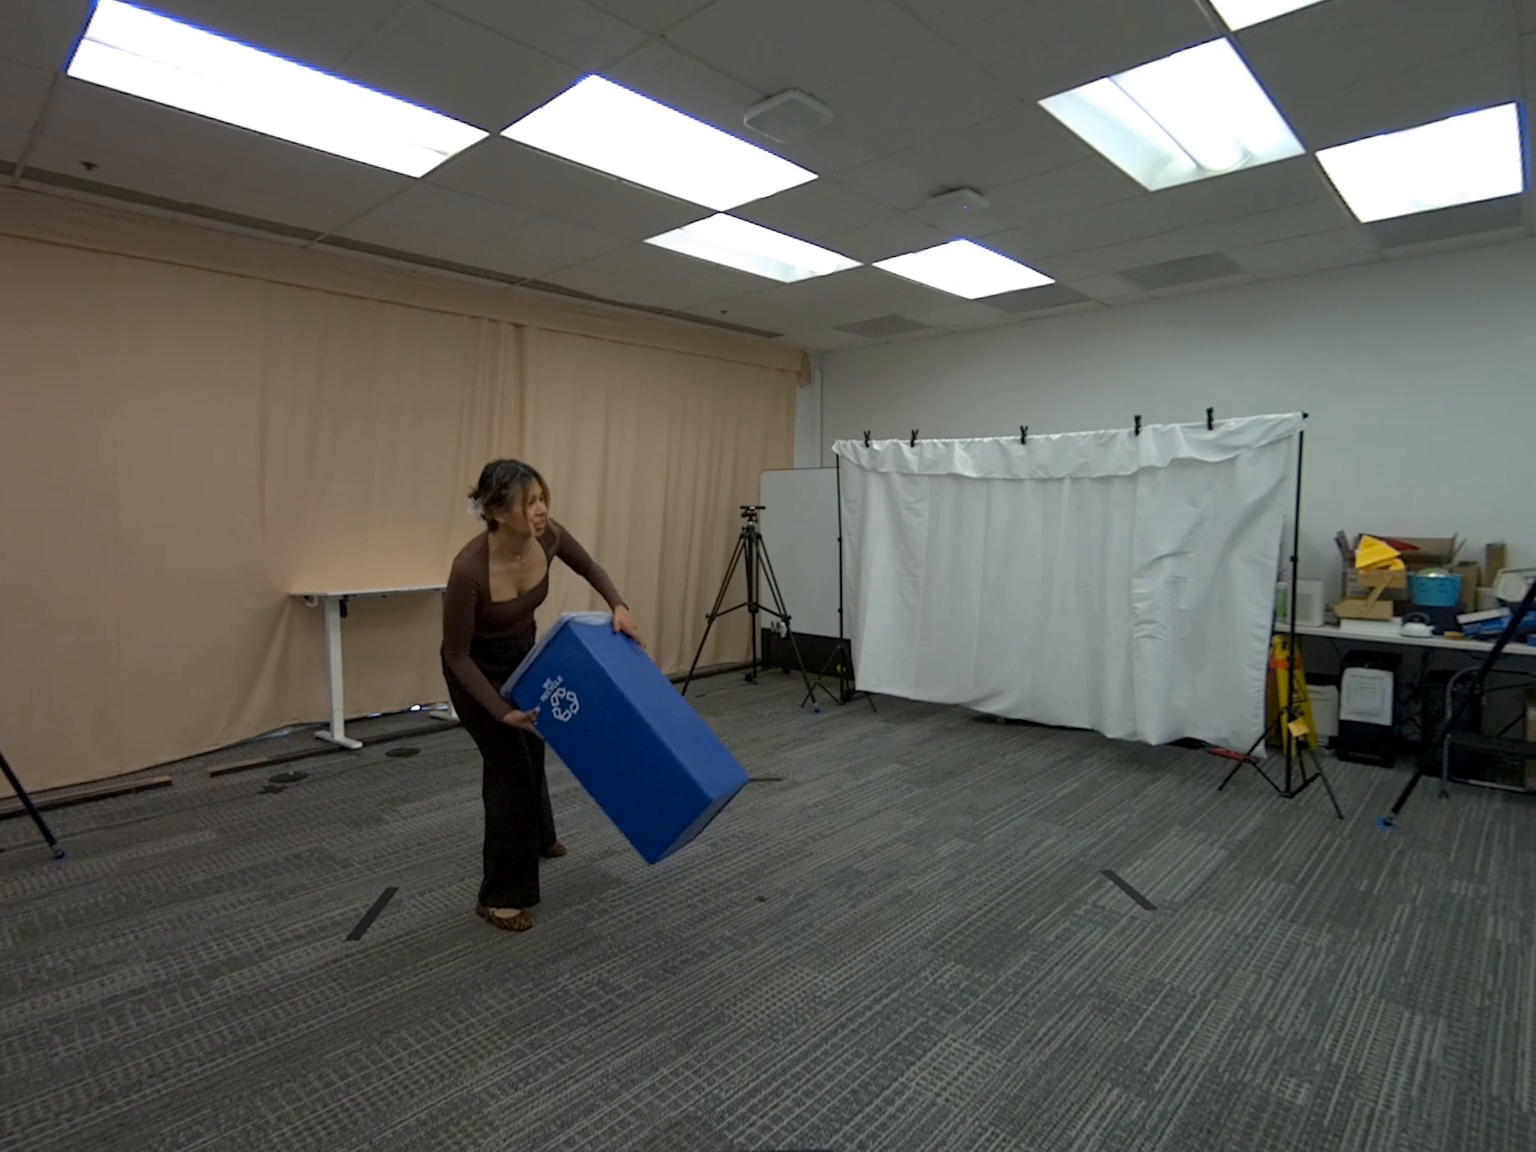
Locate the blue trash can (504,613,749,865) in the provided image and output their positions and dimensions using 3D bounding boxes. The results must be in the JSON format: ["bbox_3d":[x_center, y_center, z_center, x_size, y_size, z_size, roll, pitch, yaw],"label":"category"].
[{"bbox_3d":[-0.430,0.487,2.645,0.729,0.375,0.369,45,15,18],"label":"blue trash can"}]
